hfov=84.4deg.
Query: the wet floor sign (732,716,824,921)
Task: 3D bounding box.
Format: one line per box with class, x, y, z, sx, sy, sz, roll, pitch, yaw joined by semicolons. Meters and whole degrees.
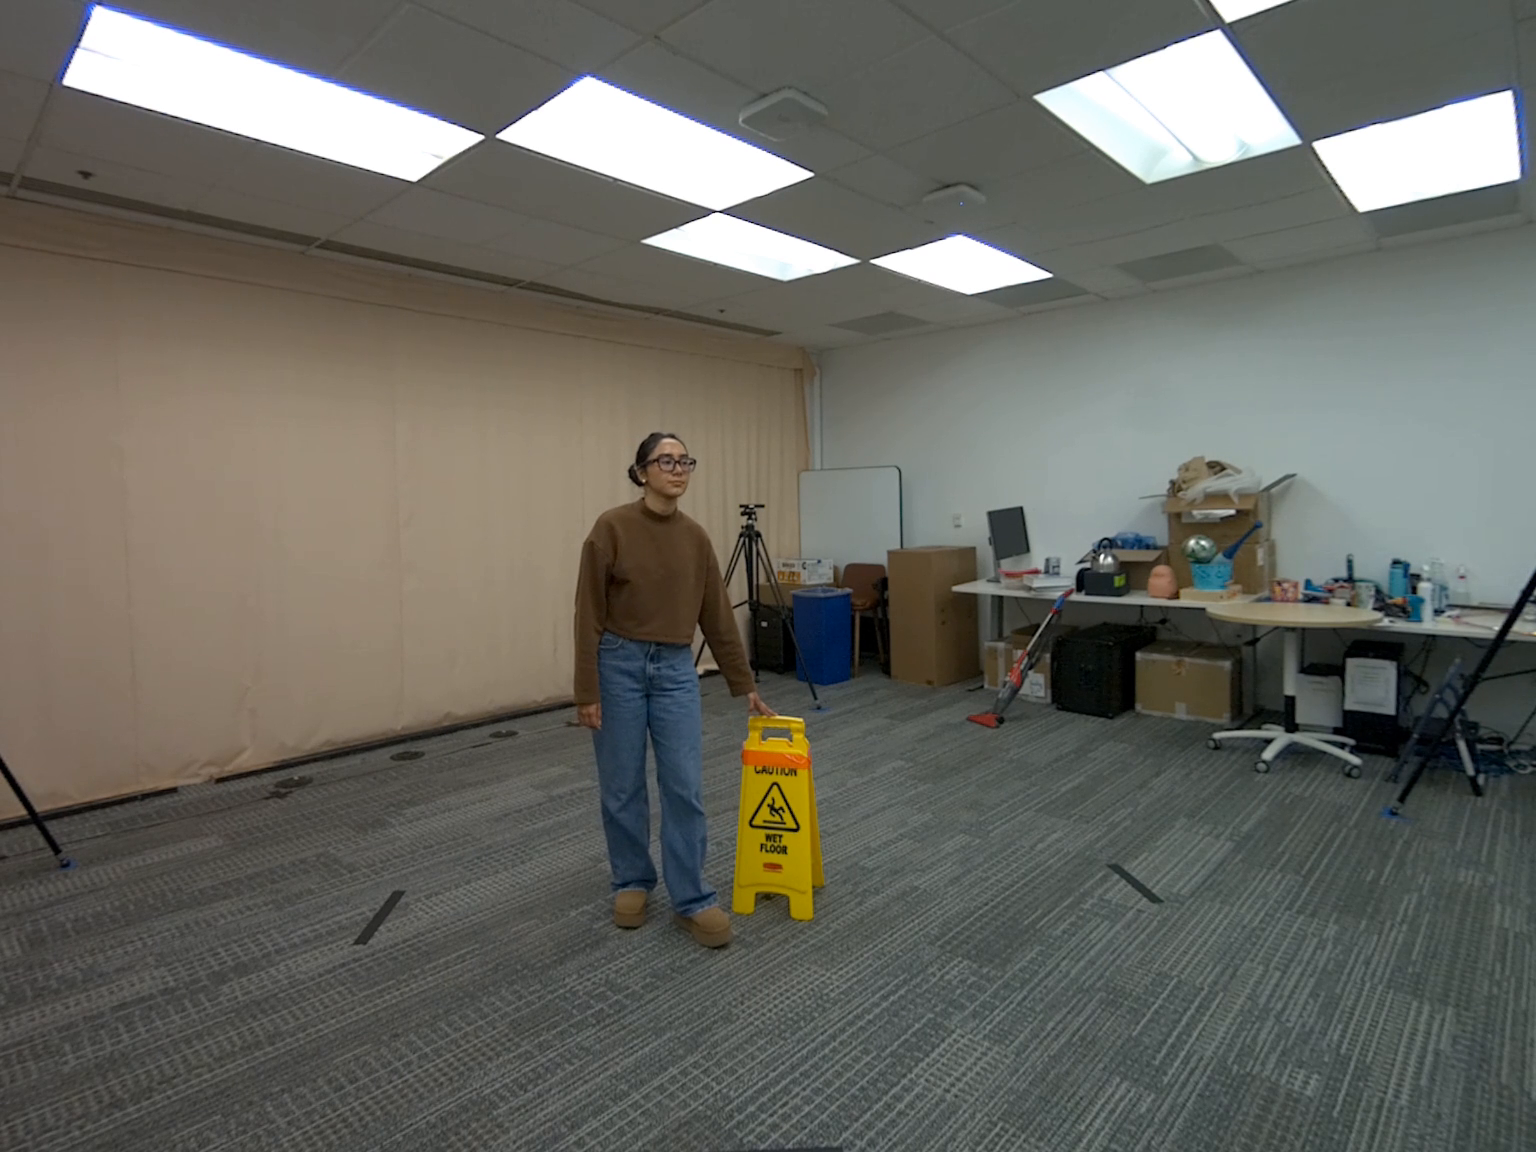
wet floor sign;0.036;0.816;2.963;0.287;0.645;0.286;0;2;13
